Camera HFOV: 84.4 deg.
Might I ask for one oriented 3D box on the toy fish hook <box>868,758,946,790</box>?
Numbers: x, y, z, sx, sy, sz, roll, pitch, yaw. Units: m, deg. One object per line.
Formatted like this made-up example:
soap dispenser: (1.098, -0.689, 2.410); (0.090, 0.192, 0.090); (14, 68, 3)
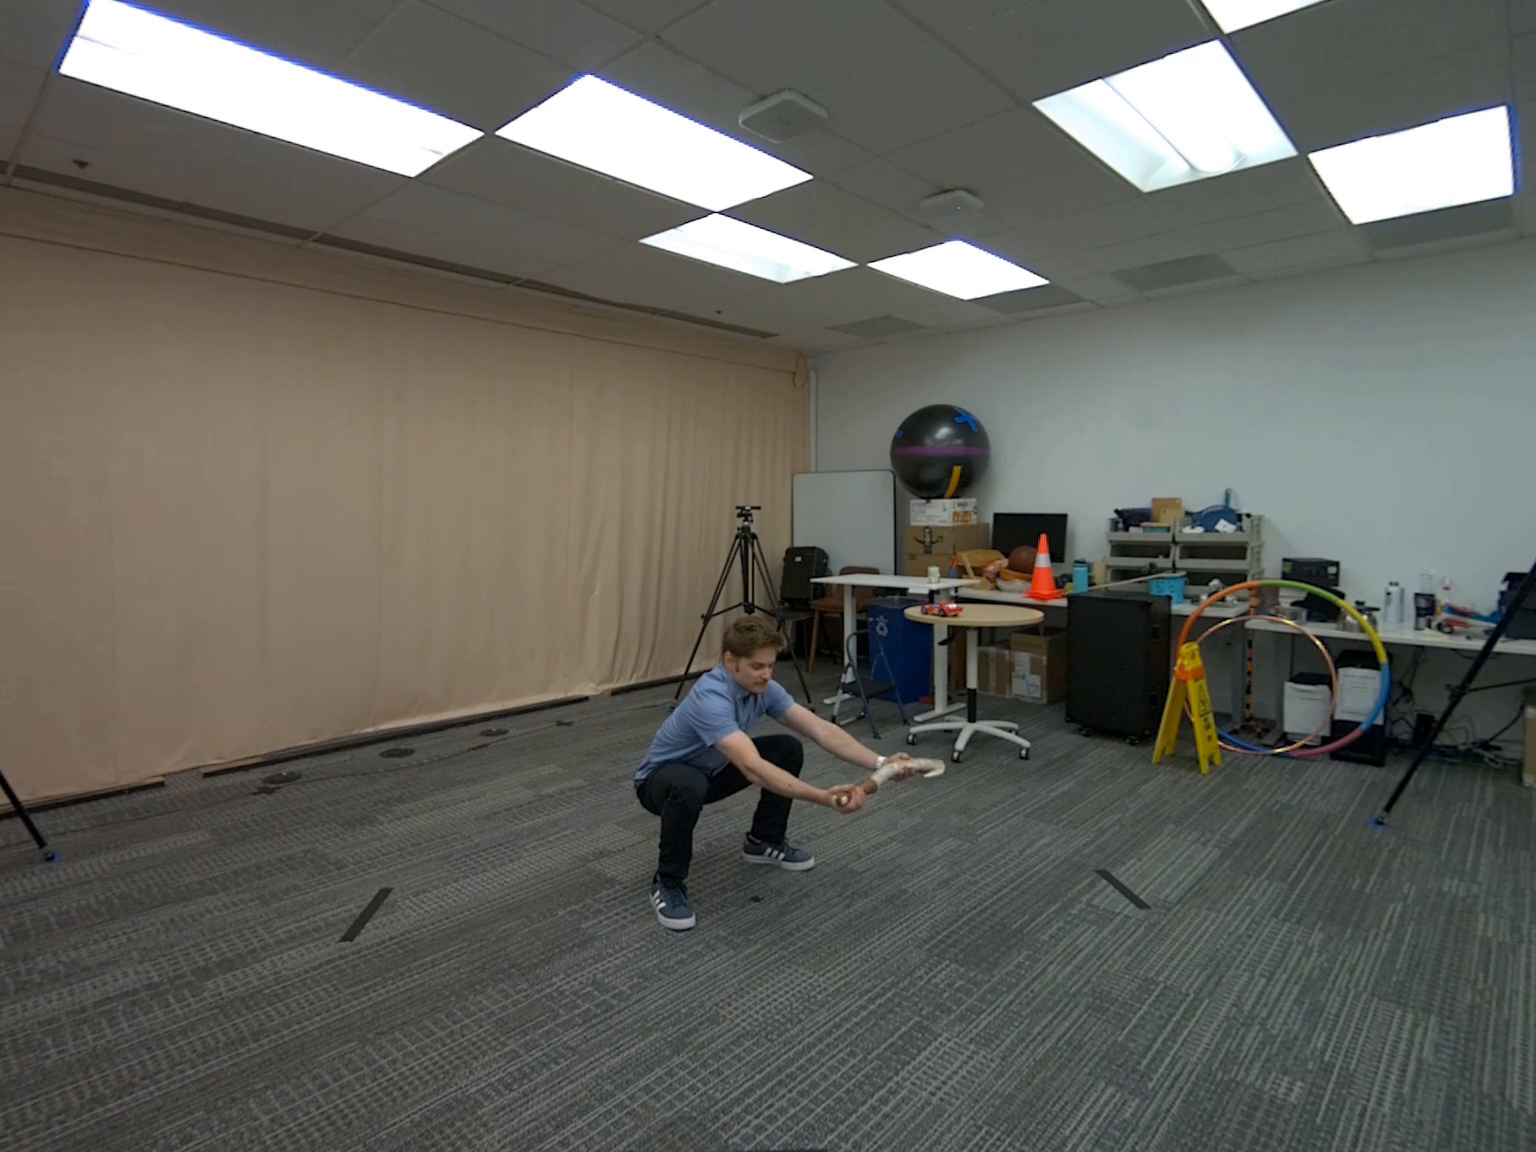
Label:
toy fish hook: (0.390, 0.647, 2.668); (0.230, 0.048, 0.492); (-13, -2, 36)
